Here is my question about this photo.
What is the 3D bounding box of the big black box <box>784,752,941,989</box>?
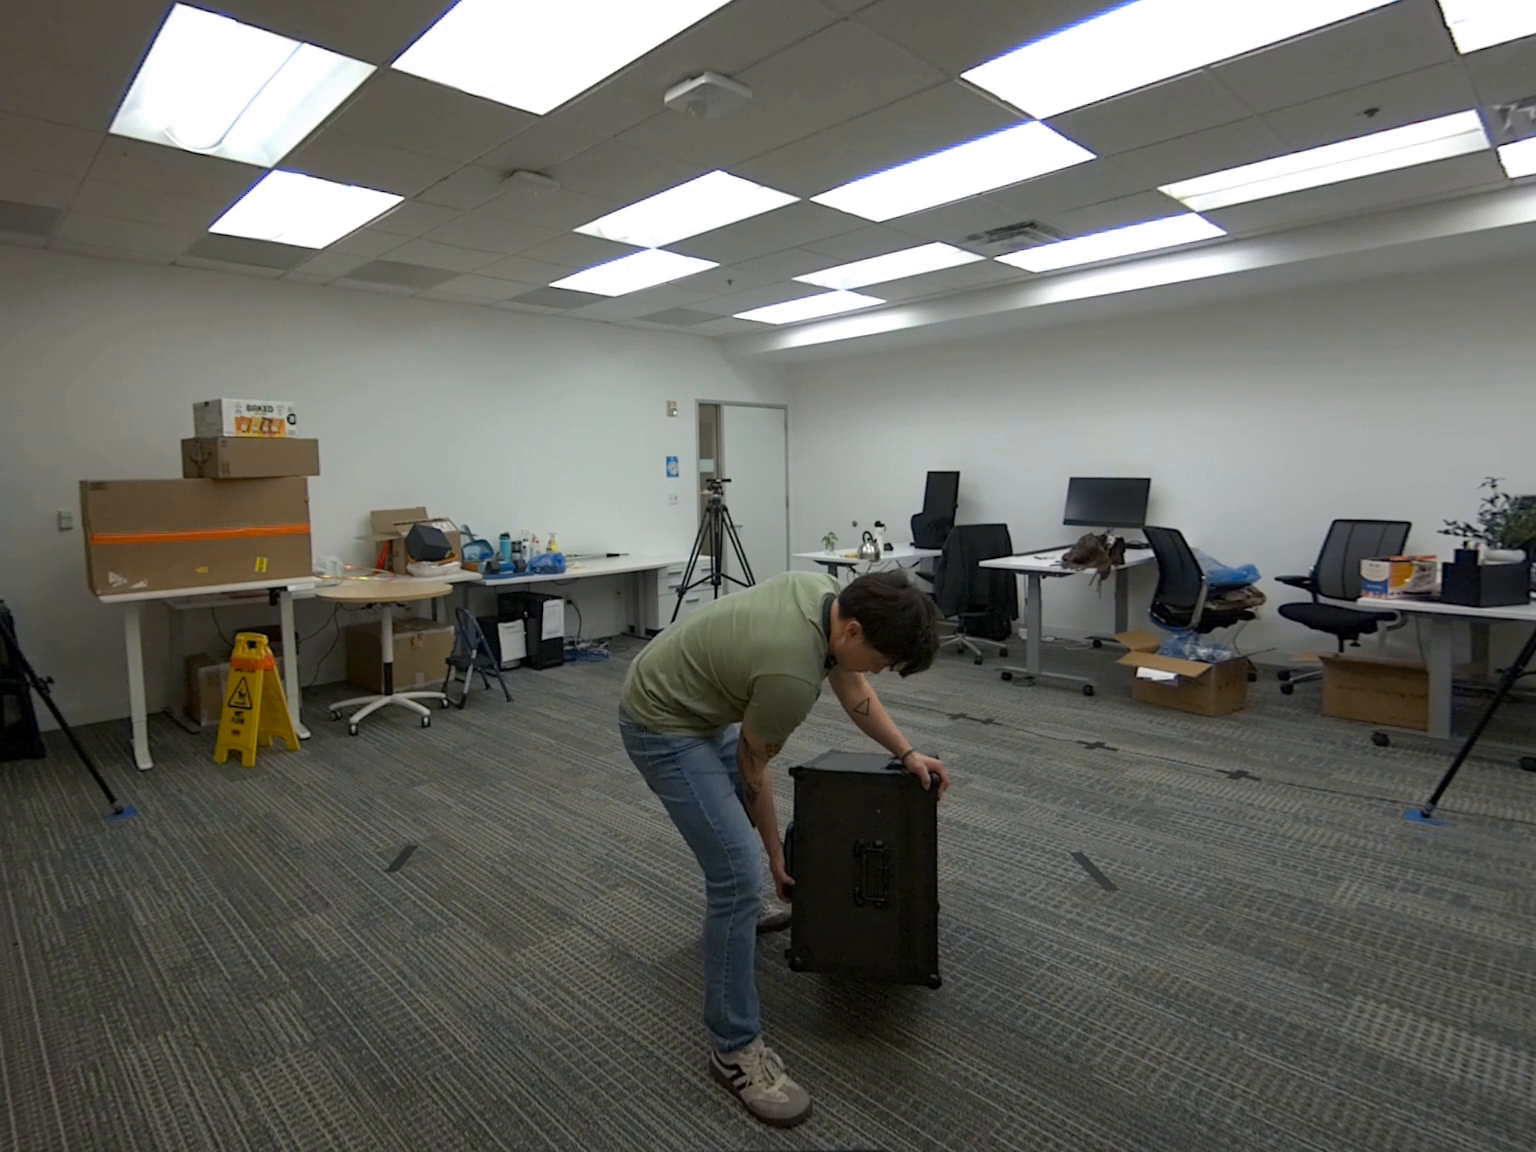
[{"bbox_3d":[0.303,0.778,2.440,0.401,0.525,0.845,0,-8,10],"label":"big black box"}]
